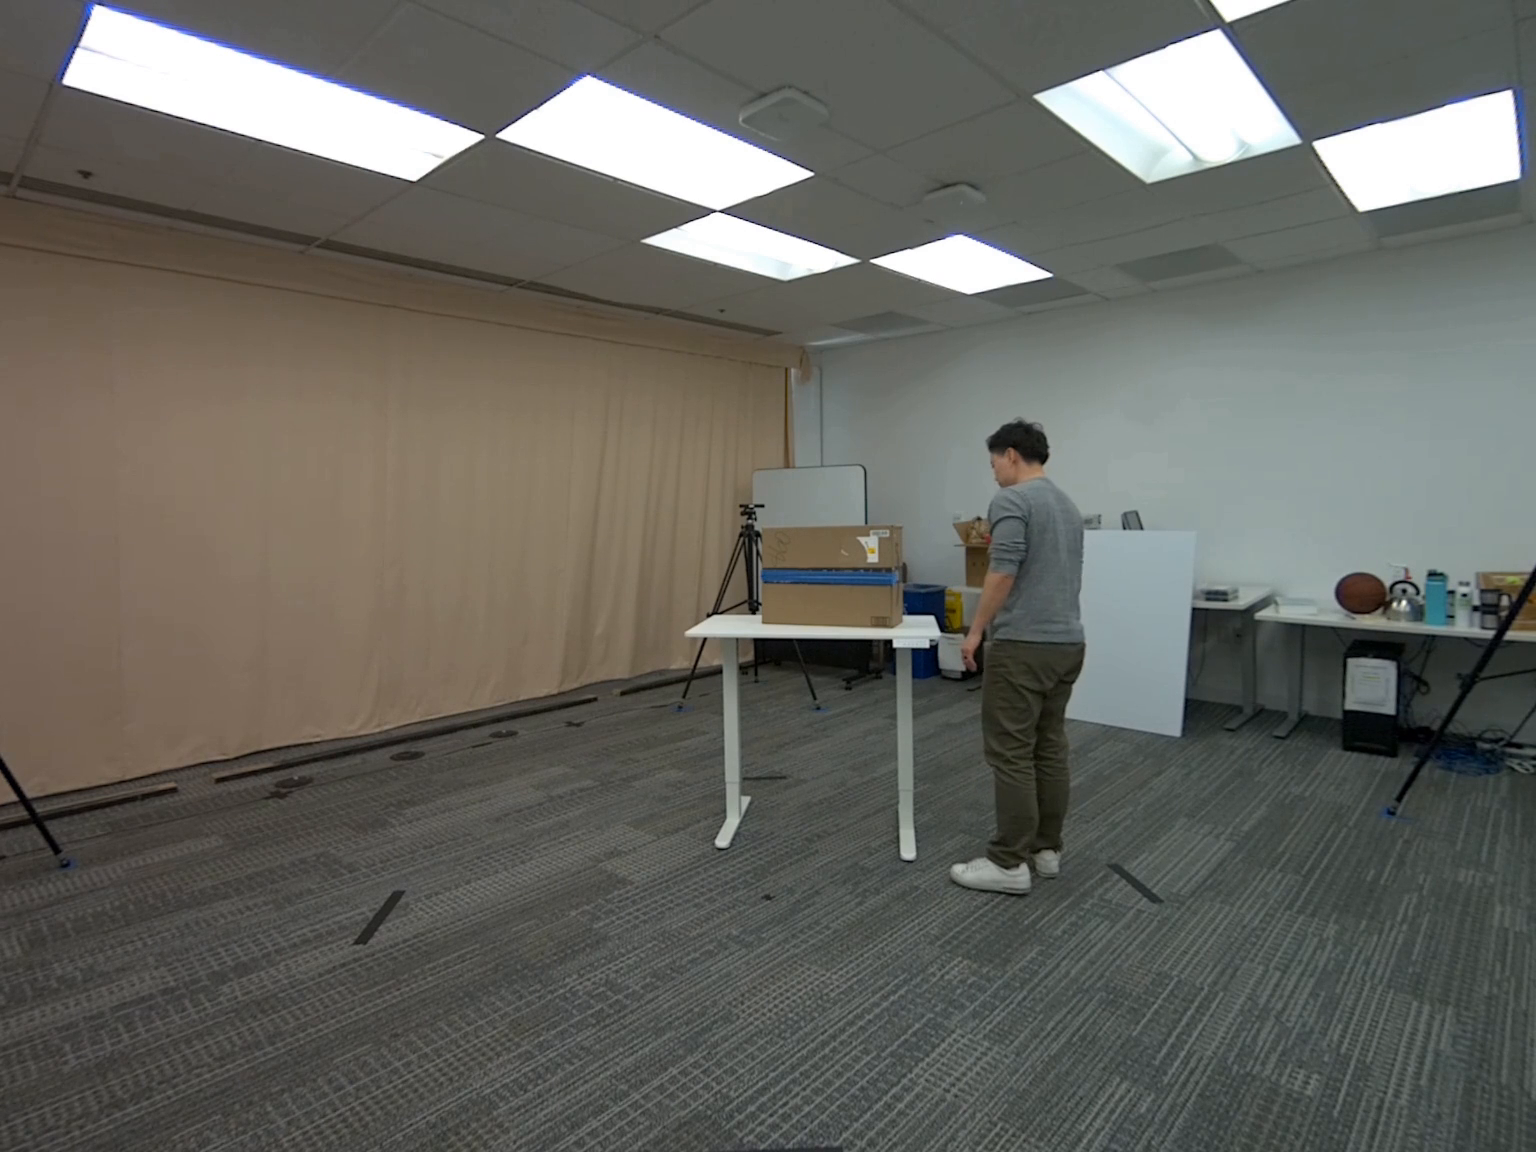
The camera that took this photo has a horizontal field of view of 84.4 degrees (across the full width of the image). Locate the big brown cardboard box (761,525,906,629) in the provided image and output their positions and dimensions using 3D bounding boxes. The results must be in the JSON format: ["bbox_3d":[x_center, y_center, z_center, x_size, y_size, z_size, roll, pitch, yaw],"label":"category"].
[{"bbox_3d":[0.280,-0.004,3.594,0.603,0.417,0.228,0,2,24],"label":"big brown cardboard box"}]
